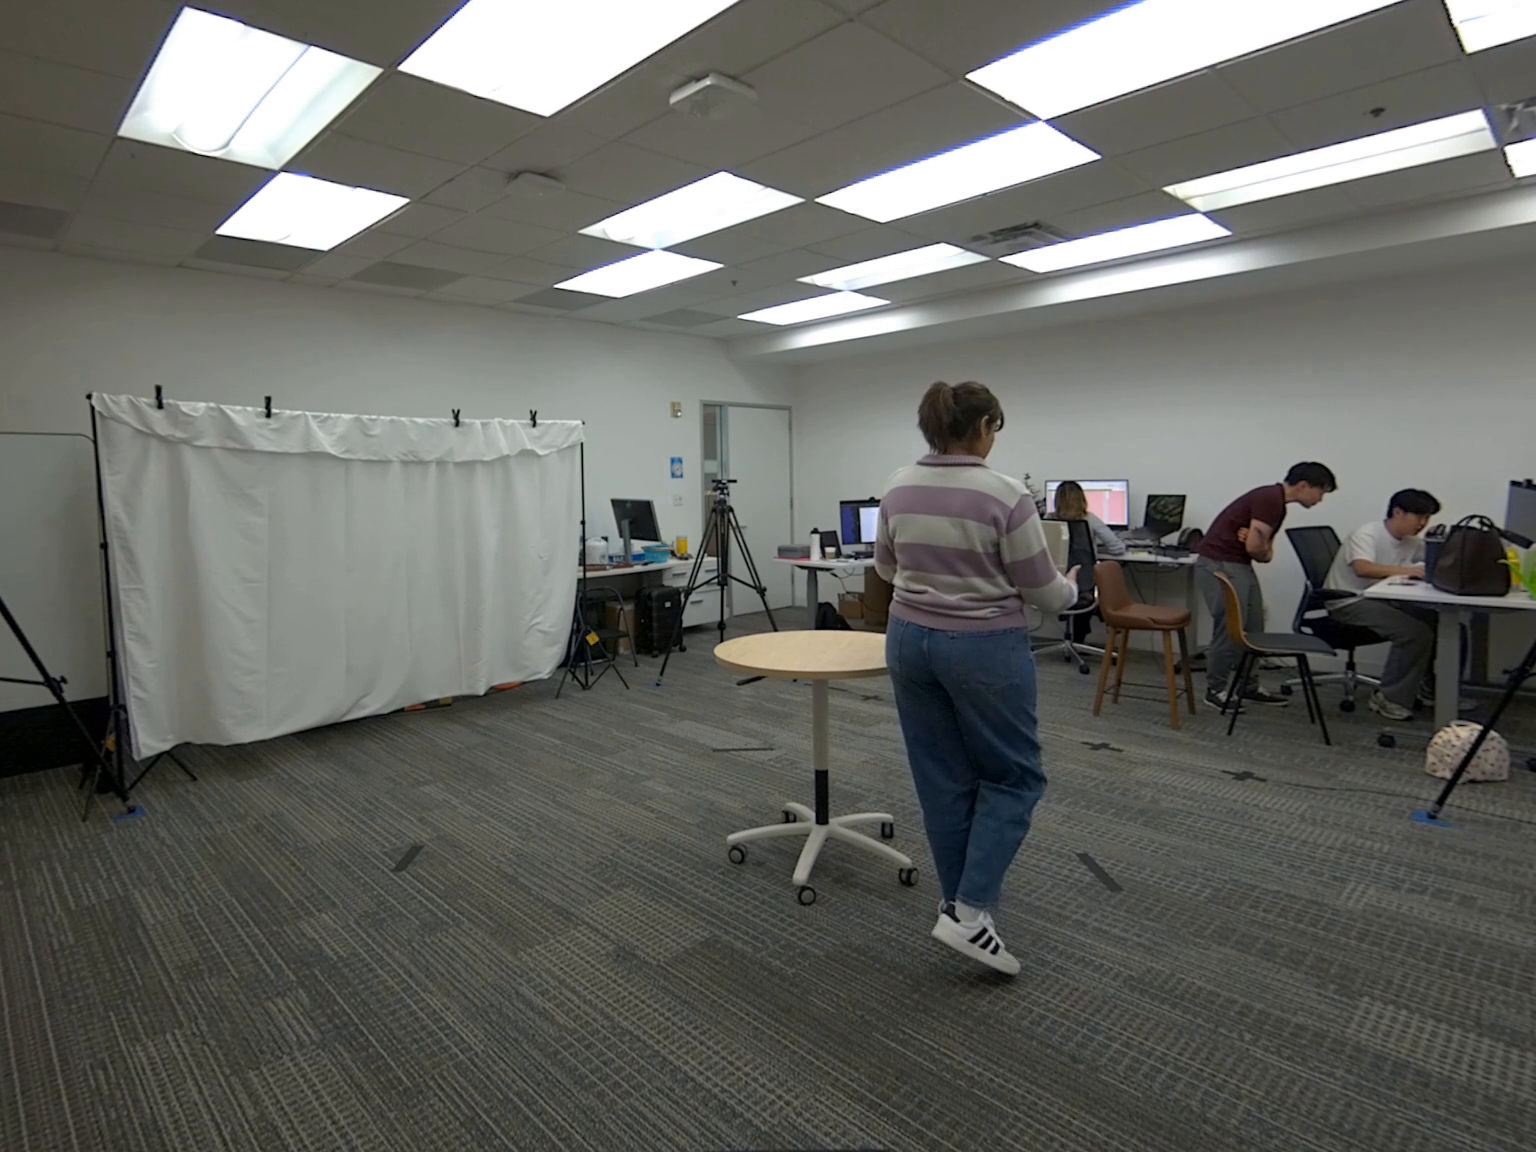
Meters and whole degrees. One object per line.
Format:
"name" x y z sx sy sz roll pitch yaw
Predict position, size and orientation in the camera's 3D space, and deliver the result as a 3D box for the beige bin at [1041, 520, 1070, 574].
"beige bin" 0.778 -0.077 2.818 0.430 0.188 0.373 3 9 17
